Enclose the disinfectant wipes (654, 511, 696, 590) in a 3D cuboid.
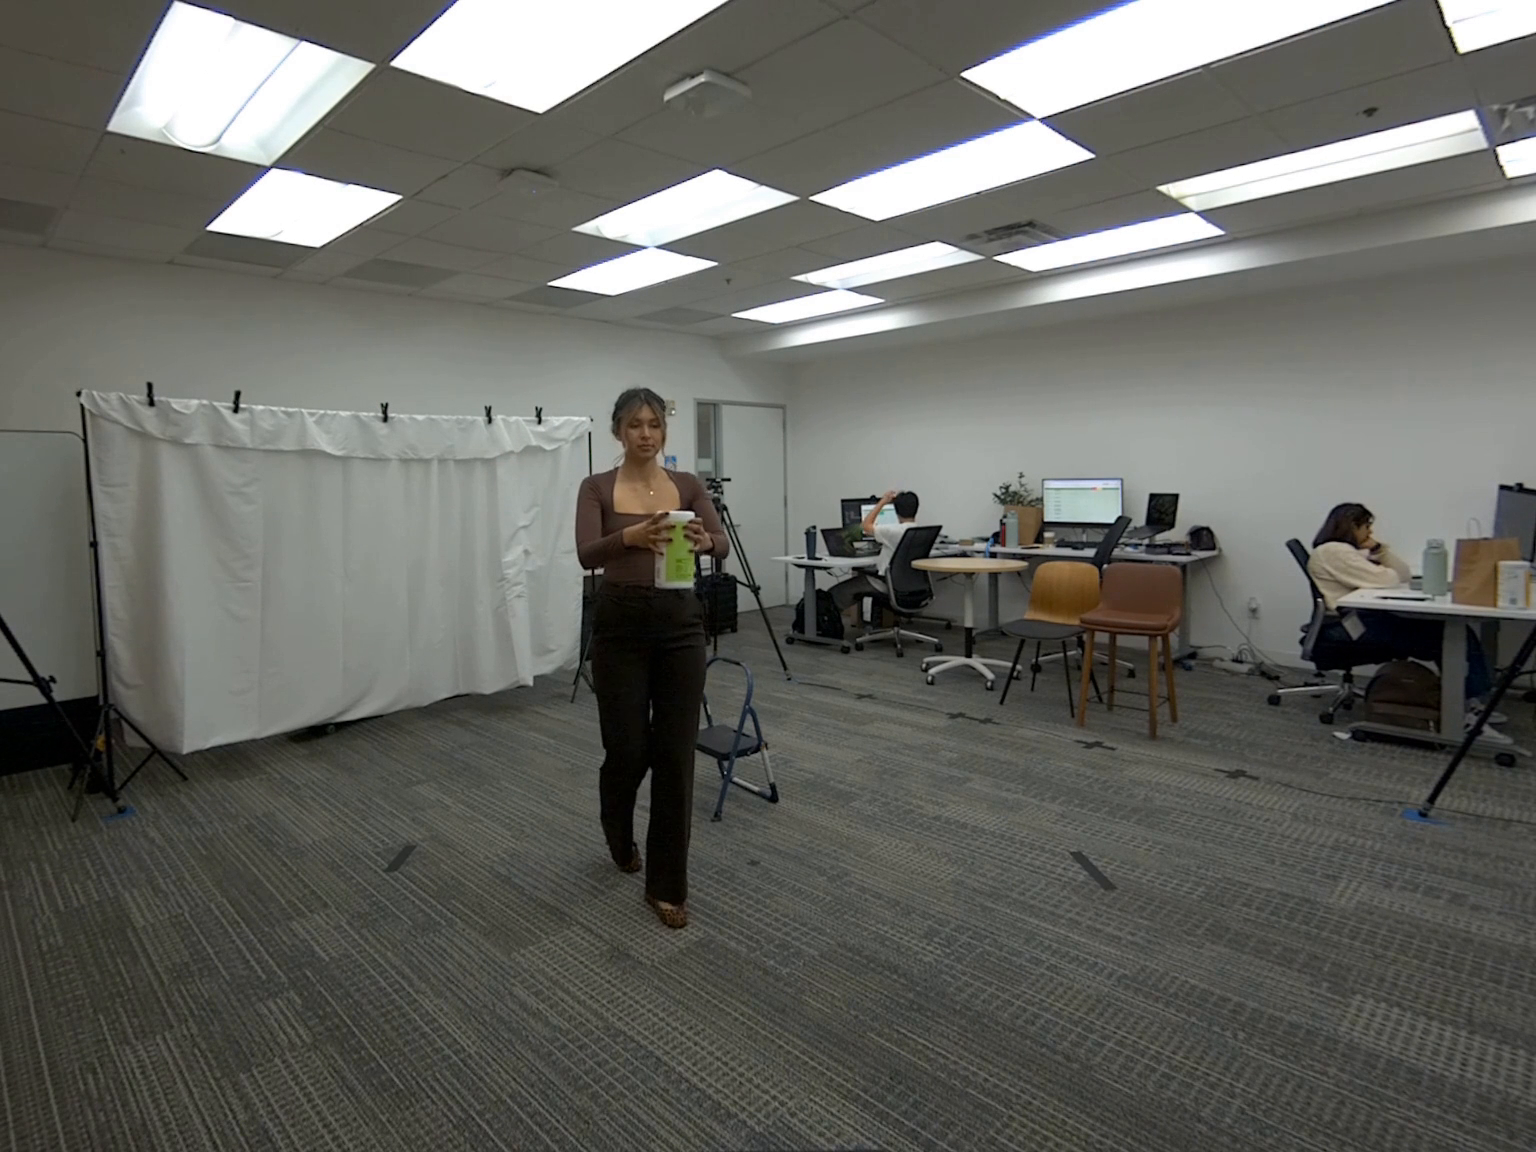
[{"bbox_3d":[-0.273,-0.068,2.407,0.118,0.217,0.118,3,1,-2],"label":"disinfectant wipes"}]
